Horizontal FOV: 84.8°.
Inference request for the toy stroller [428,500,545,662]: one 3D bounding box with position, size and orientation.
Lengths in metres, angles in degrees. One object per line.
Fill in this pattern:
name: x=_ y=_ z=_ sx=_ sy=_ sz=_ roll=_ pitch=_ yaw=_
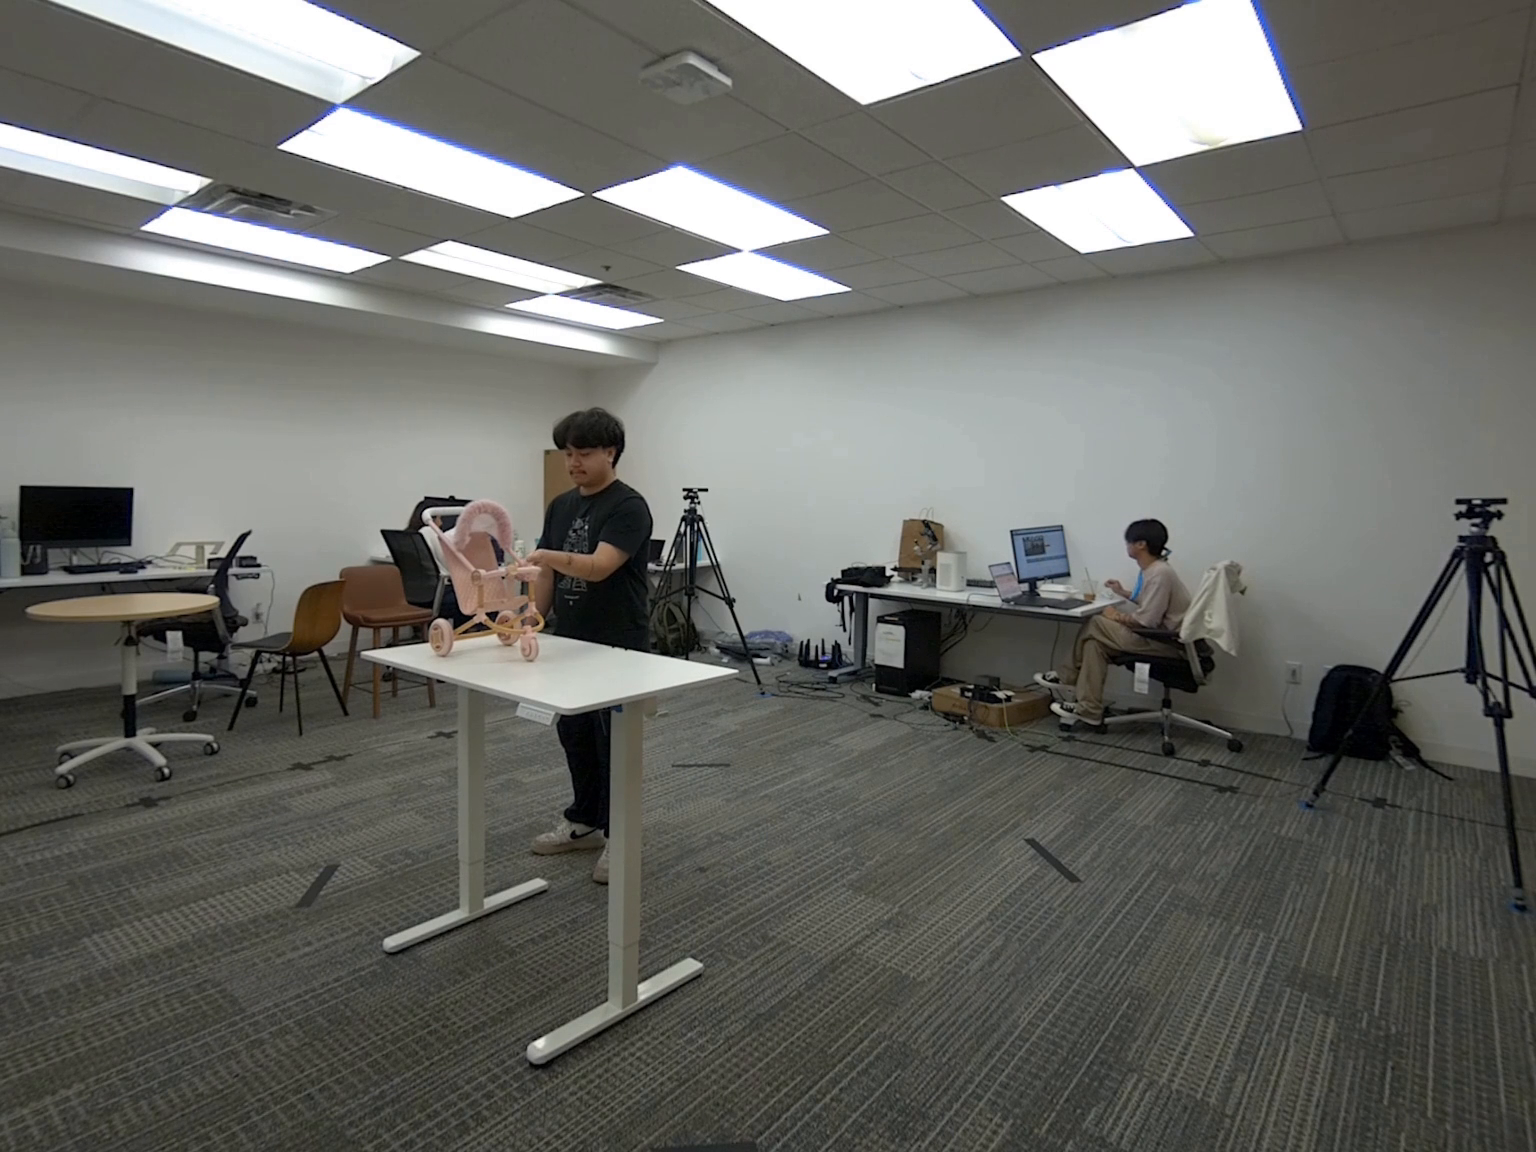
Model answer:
toy stroller: x=-0.853 y=0.006 z=2.562 sx=0.349 sy=0.540 sz=0.273 roll=-17 pitch=-9 yaw=40
